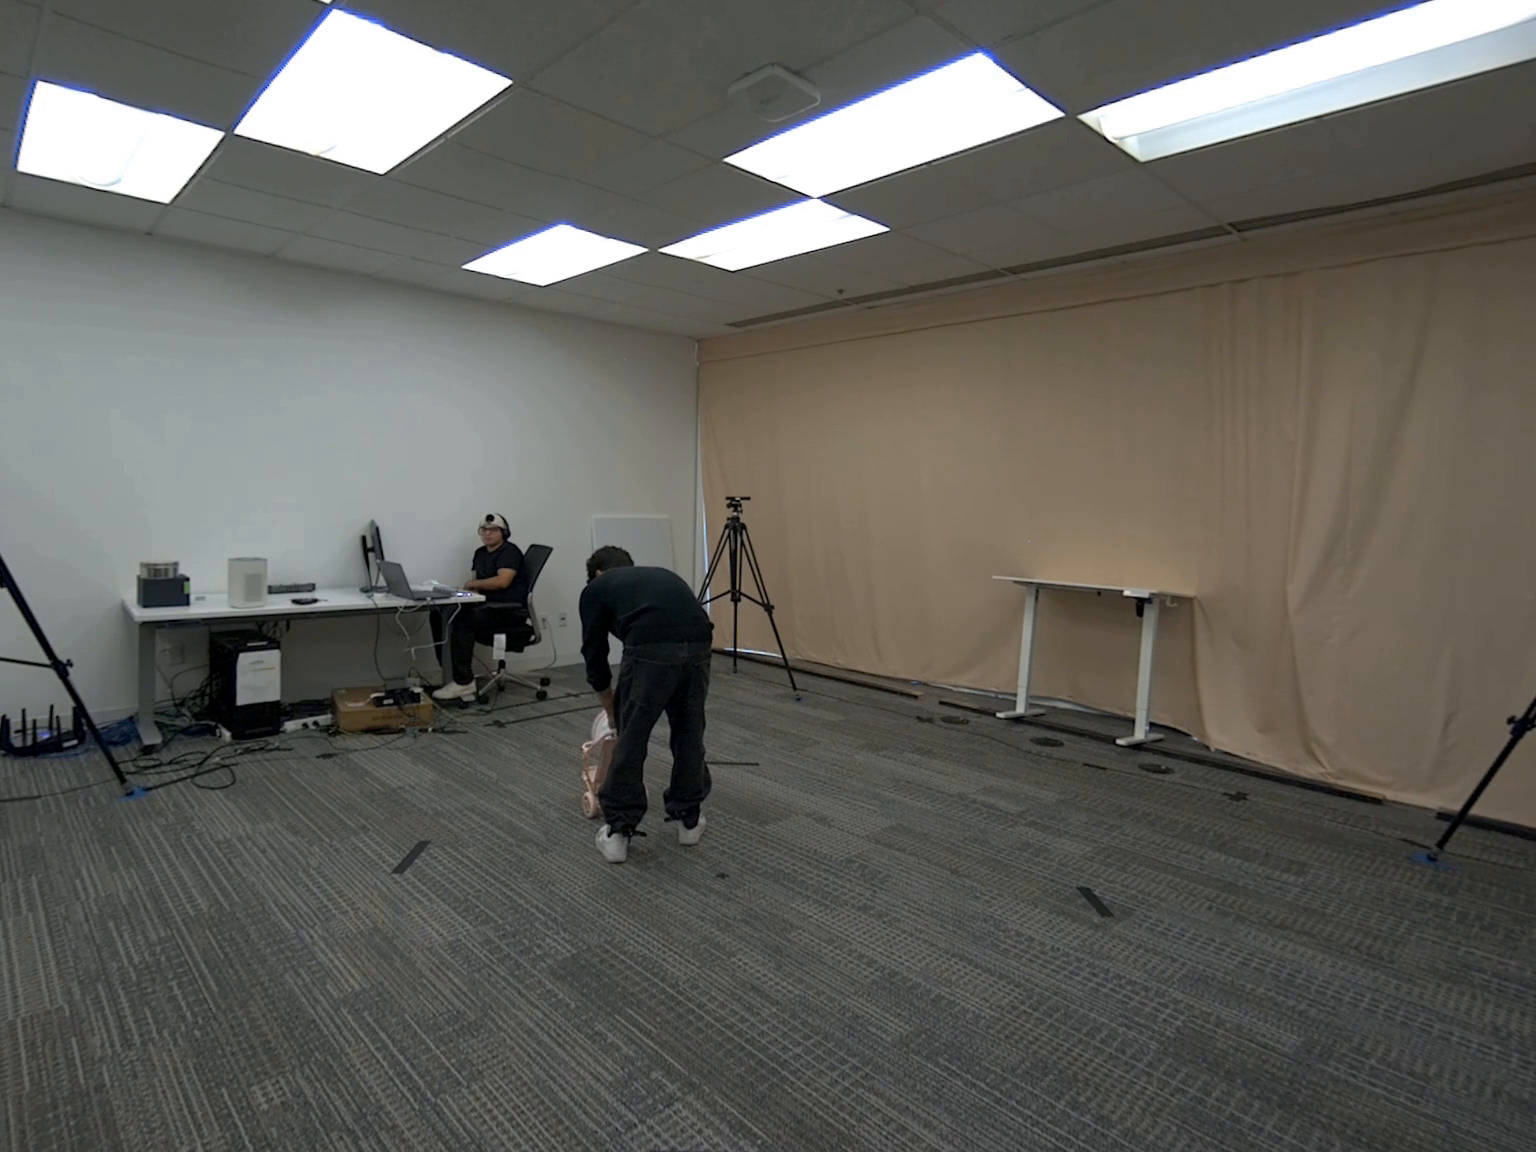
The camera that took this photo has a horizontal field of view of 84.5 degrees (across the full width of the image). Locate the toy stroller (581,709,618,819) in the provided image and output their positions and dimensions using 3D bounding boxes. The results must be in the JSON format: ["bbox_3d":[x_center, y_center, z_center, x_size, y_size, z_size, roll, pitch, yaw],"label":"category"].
[{"bbox_3d":[-0.704,0.816,3.752,0.276,0.529,0.351,0,21,-27],"label":"toy stroller"}]
